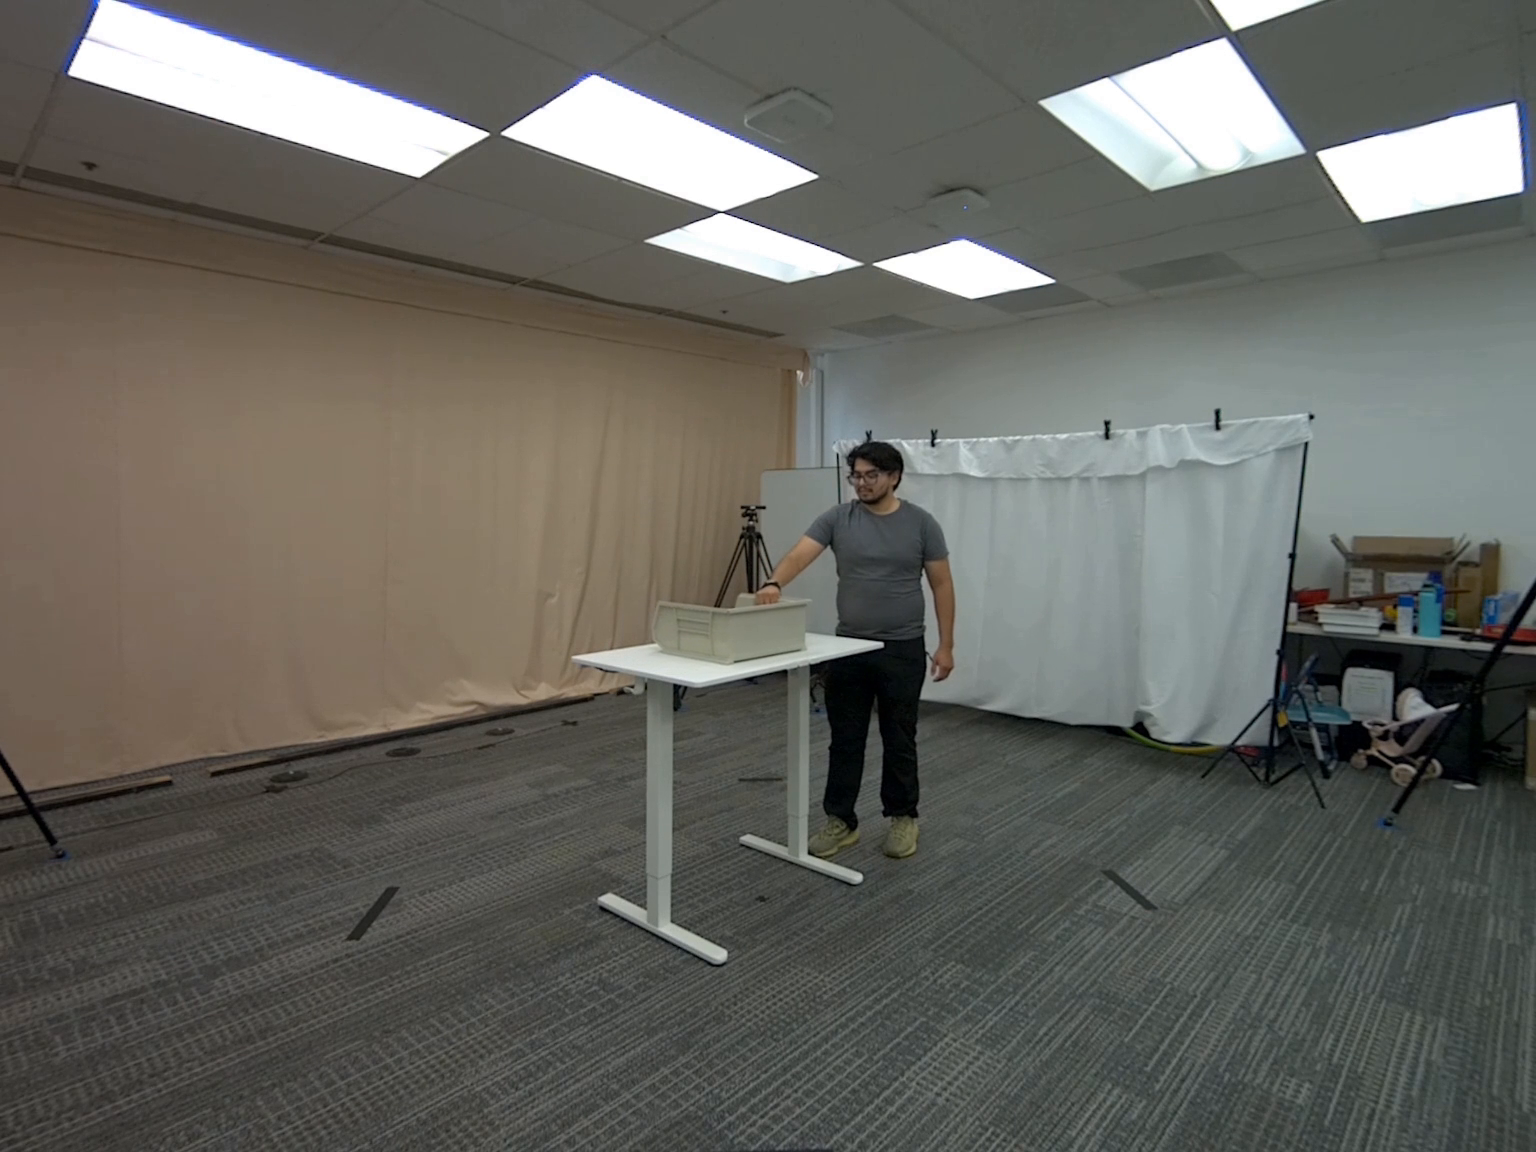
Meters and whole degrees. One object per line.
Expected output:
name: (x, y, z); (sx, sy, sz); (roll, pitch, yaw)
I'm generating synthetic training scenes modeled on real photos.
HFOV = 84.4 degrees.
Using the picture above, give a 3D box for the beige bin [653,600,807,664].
beige bin: (-0.126, 0.174, 2.949); (0.390, 0.188, 0.409); (6, 7, 43)
